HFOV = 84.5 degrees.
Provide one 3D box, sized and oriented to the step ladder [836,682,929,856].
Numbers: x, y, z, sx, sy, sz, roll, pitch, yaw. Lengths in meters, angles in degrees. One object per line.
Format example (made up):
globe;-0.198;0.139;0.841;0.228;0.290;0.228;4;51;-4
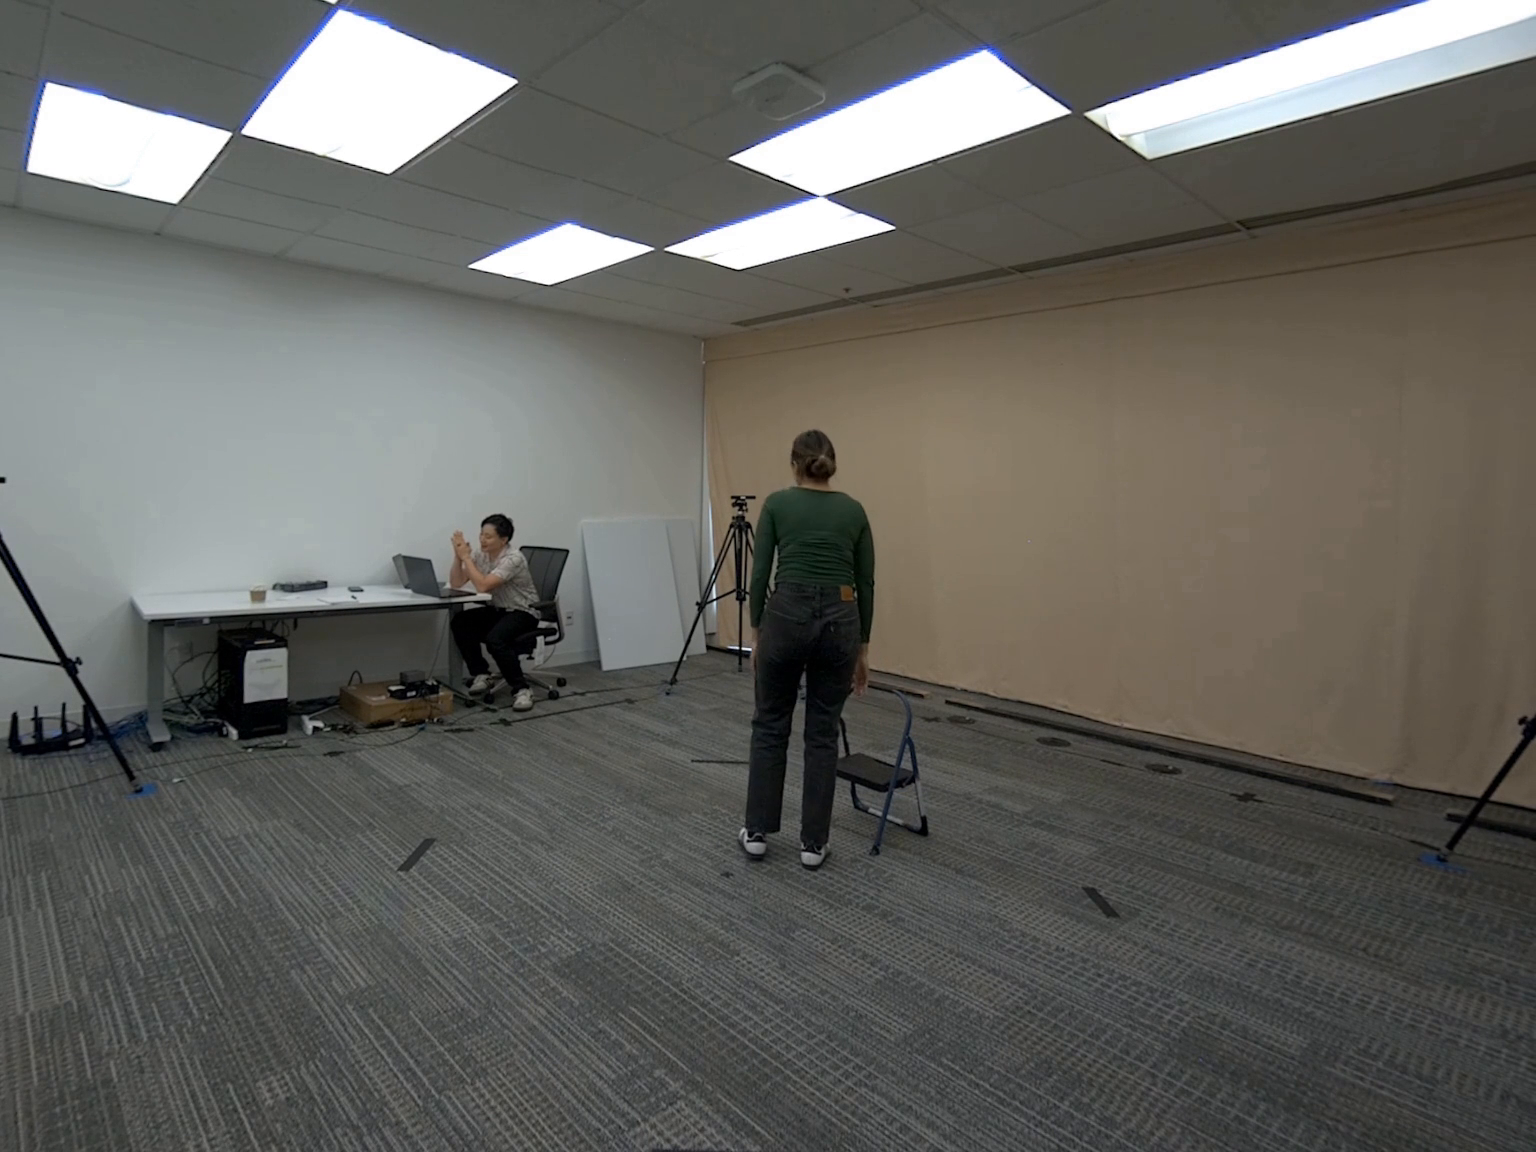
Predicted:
step ladder;0.409;0.773;3.555;0.341;0.604;0.441;-1;5;-40
